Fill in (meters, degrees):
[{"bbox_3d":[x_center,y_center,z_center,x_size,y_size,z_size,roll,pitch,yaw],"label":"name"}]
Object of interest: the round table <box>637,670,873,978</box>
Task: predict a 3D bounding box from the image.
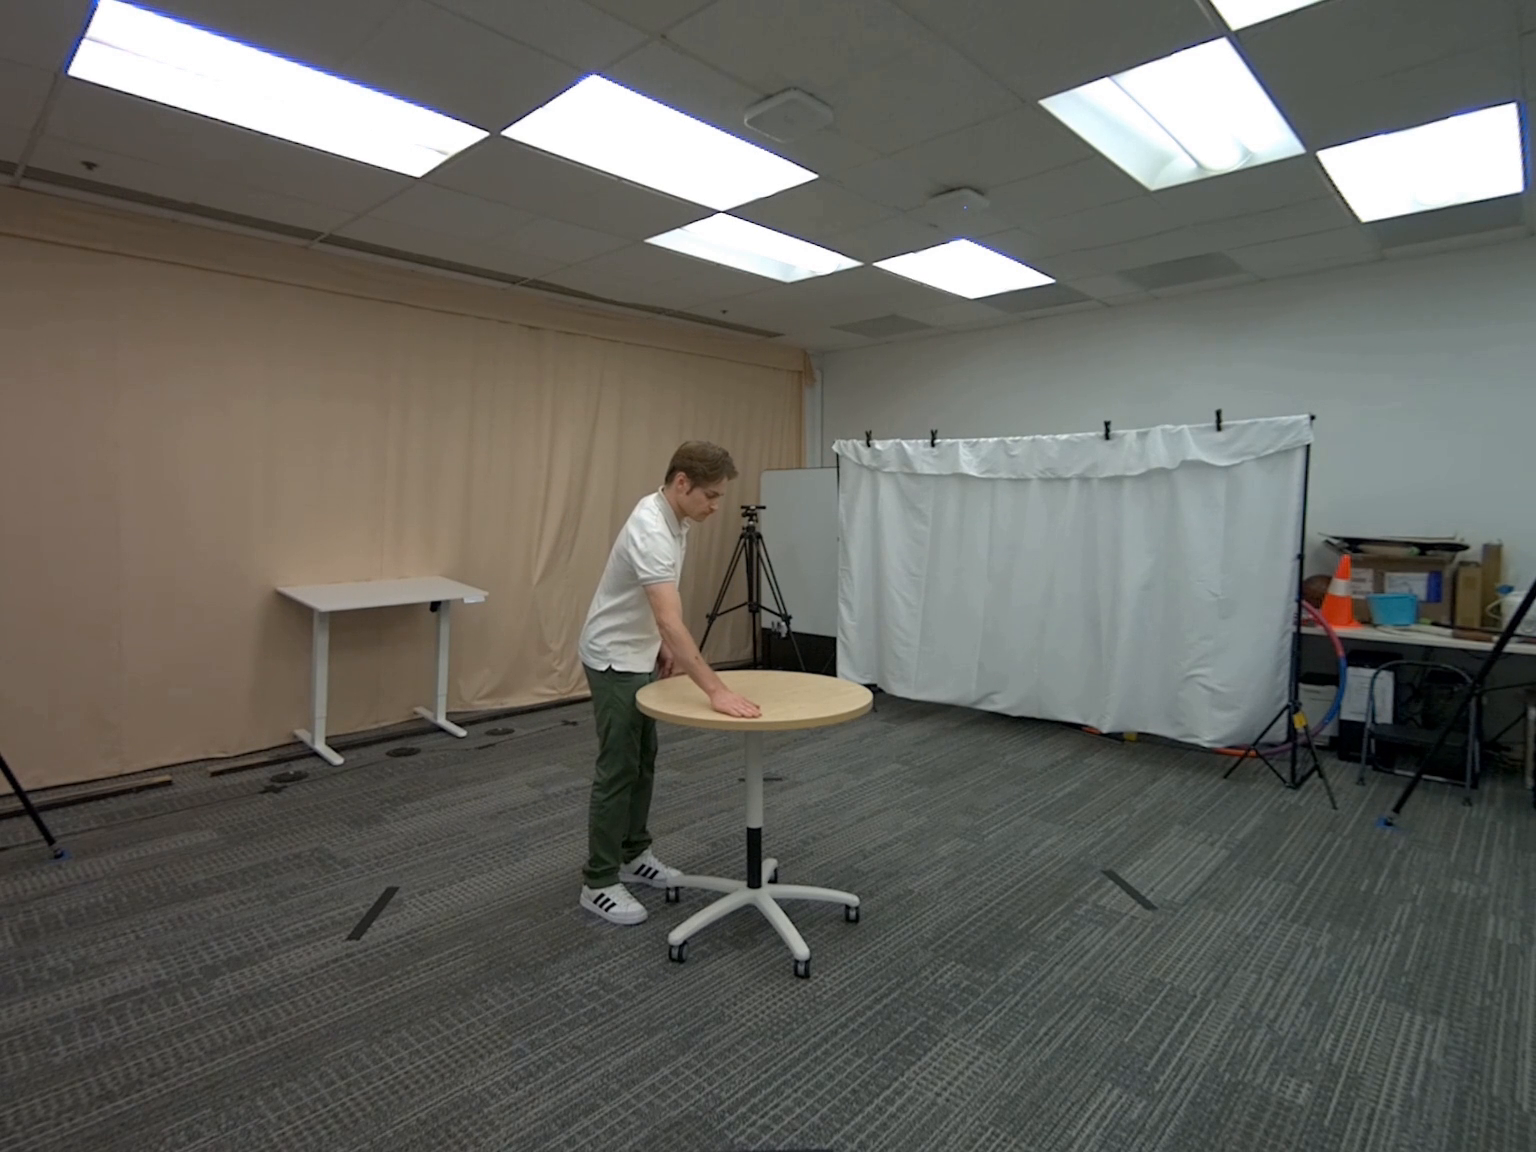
[{"bbox_3d":[-0.033,0.770,2.746,0.784,0.785,0.787,-1,3,-2],"label":"round table"}]
